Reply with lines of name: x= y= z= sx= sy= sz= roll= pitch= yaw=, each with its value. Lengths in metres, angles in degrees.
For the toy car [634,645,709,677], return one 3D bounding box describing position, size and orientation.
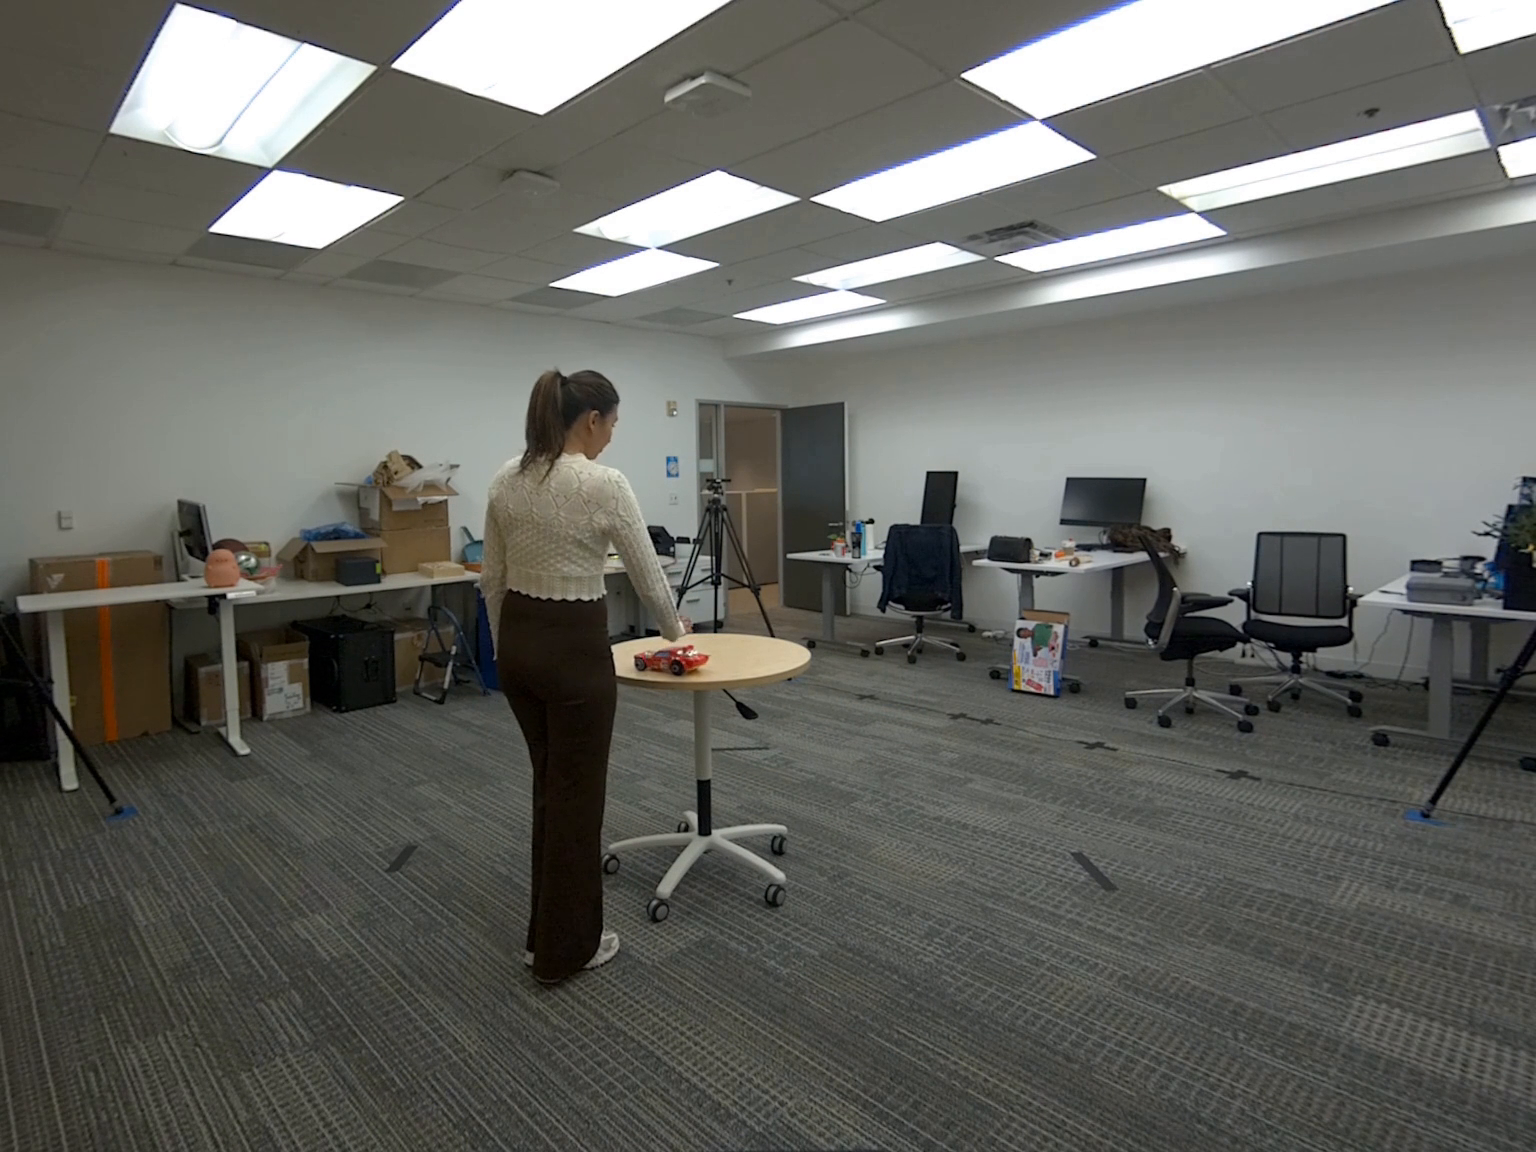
toy car: x=-0.304 y=0.275 z=2.758 sx=0.260 sy=0.083 sz=0.127 roll=-10 pitch=1 yaw=31
